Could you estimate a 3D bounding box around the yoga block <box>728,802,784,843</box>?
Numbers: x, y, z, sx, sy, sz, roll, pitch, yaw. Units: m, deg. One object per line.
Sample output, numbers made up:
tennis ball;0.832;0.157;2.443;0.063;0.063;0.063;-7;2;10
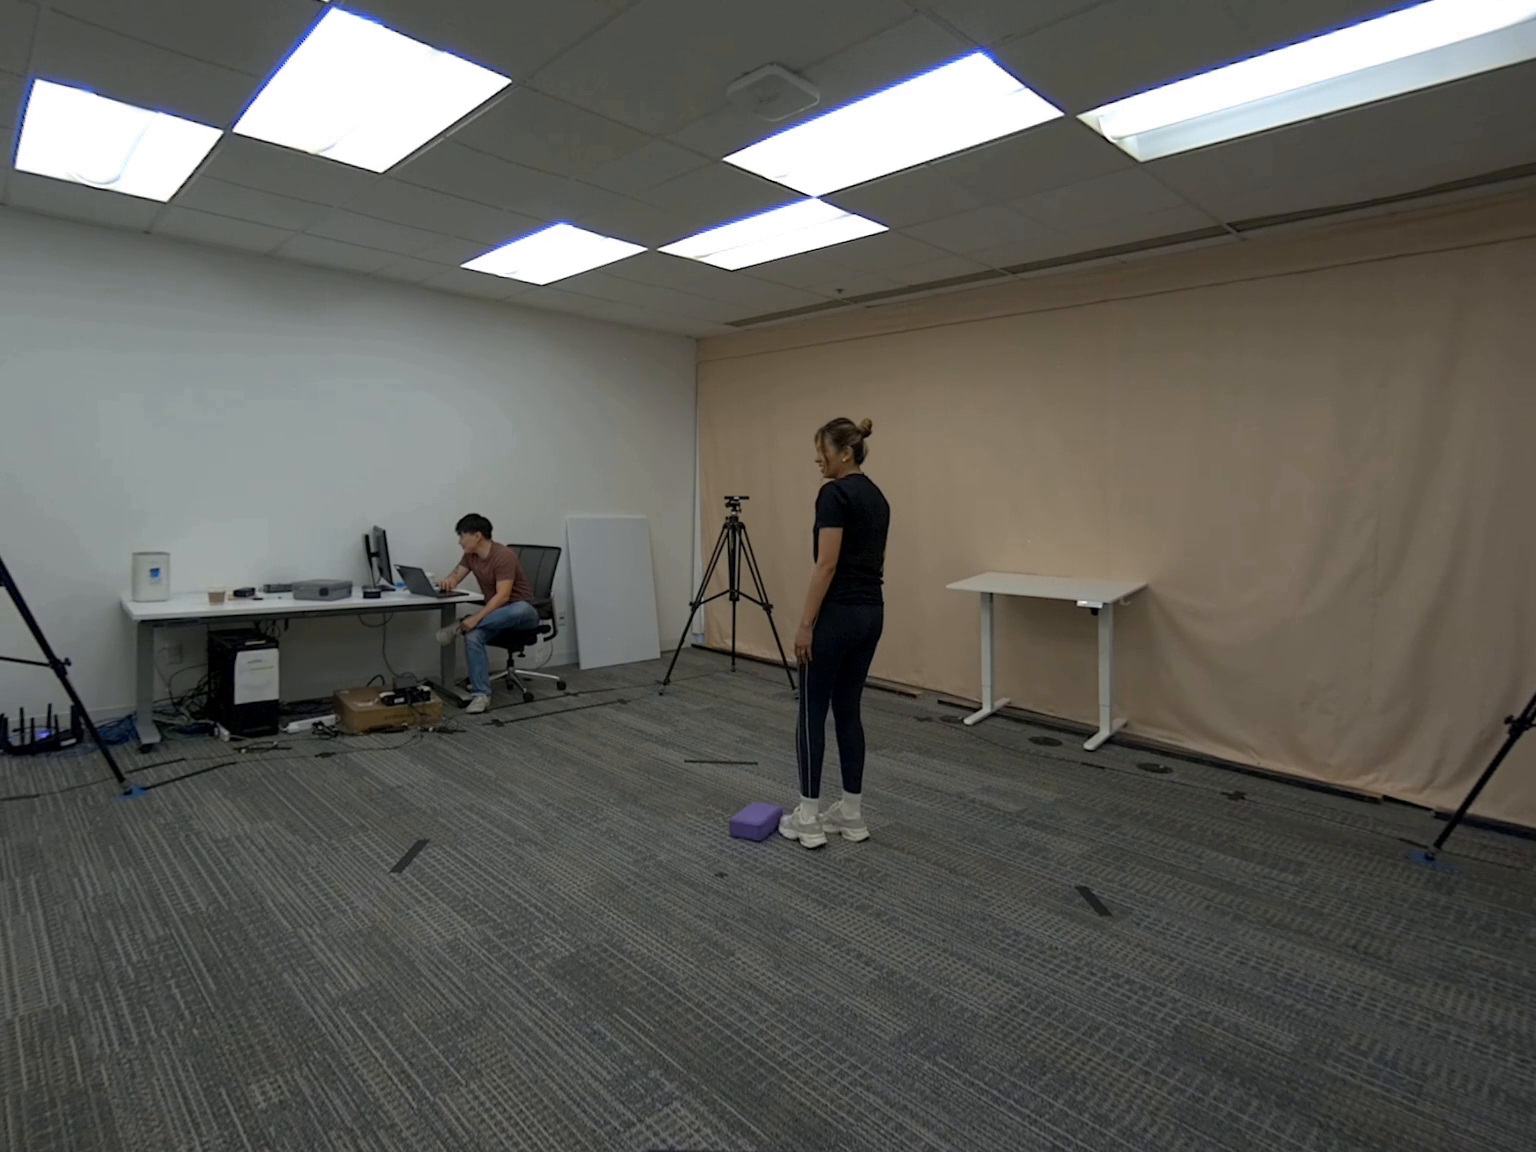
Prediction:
yoga block;-0.065;1.019;3.520;0.152;0.076;0.225;1;6;27
